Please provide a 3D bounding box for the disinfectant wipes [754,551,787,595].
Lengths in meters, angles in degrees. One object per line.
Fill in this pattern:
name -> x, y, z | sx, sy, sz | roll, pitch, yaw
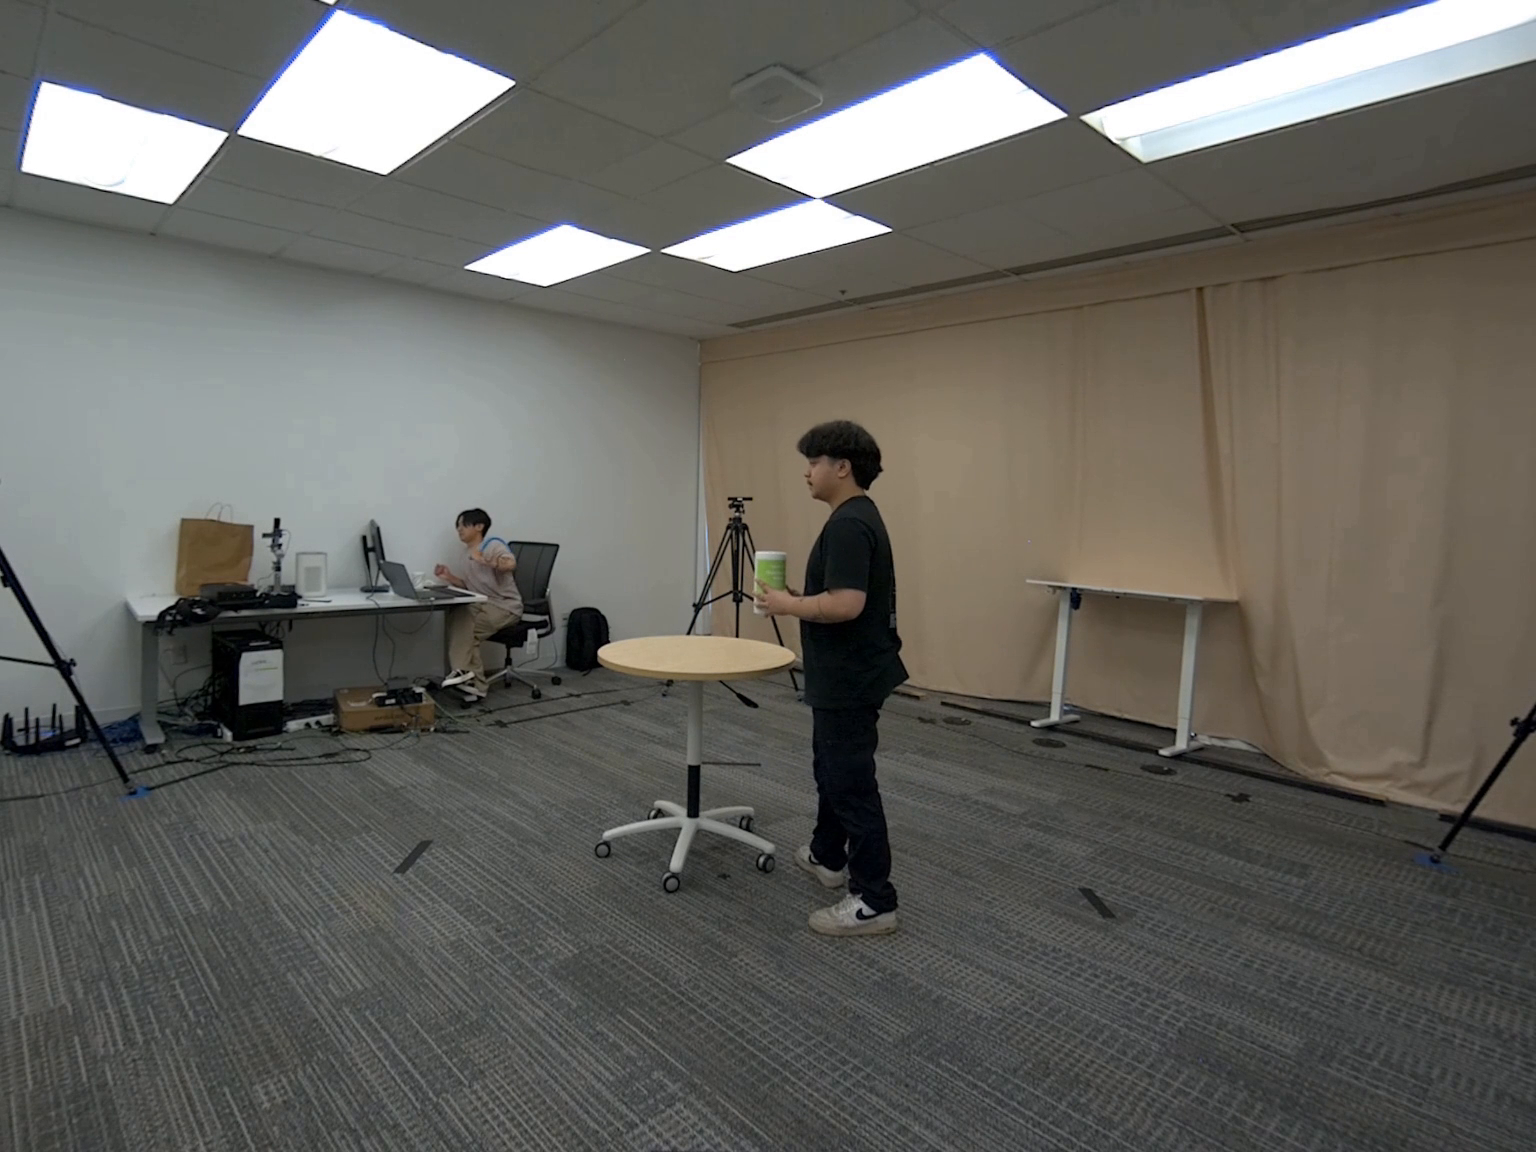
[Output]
disinfectant wipes -> 0.004, 0.026, 2.900 | 0.118, 0.217, 0.118 | 1, 3, -1
